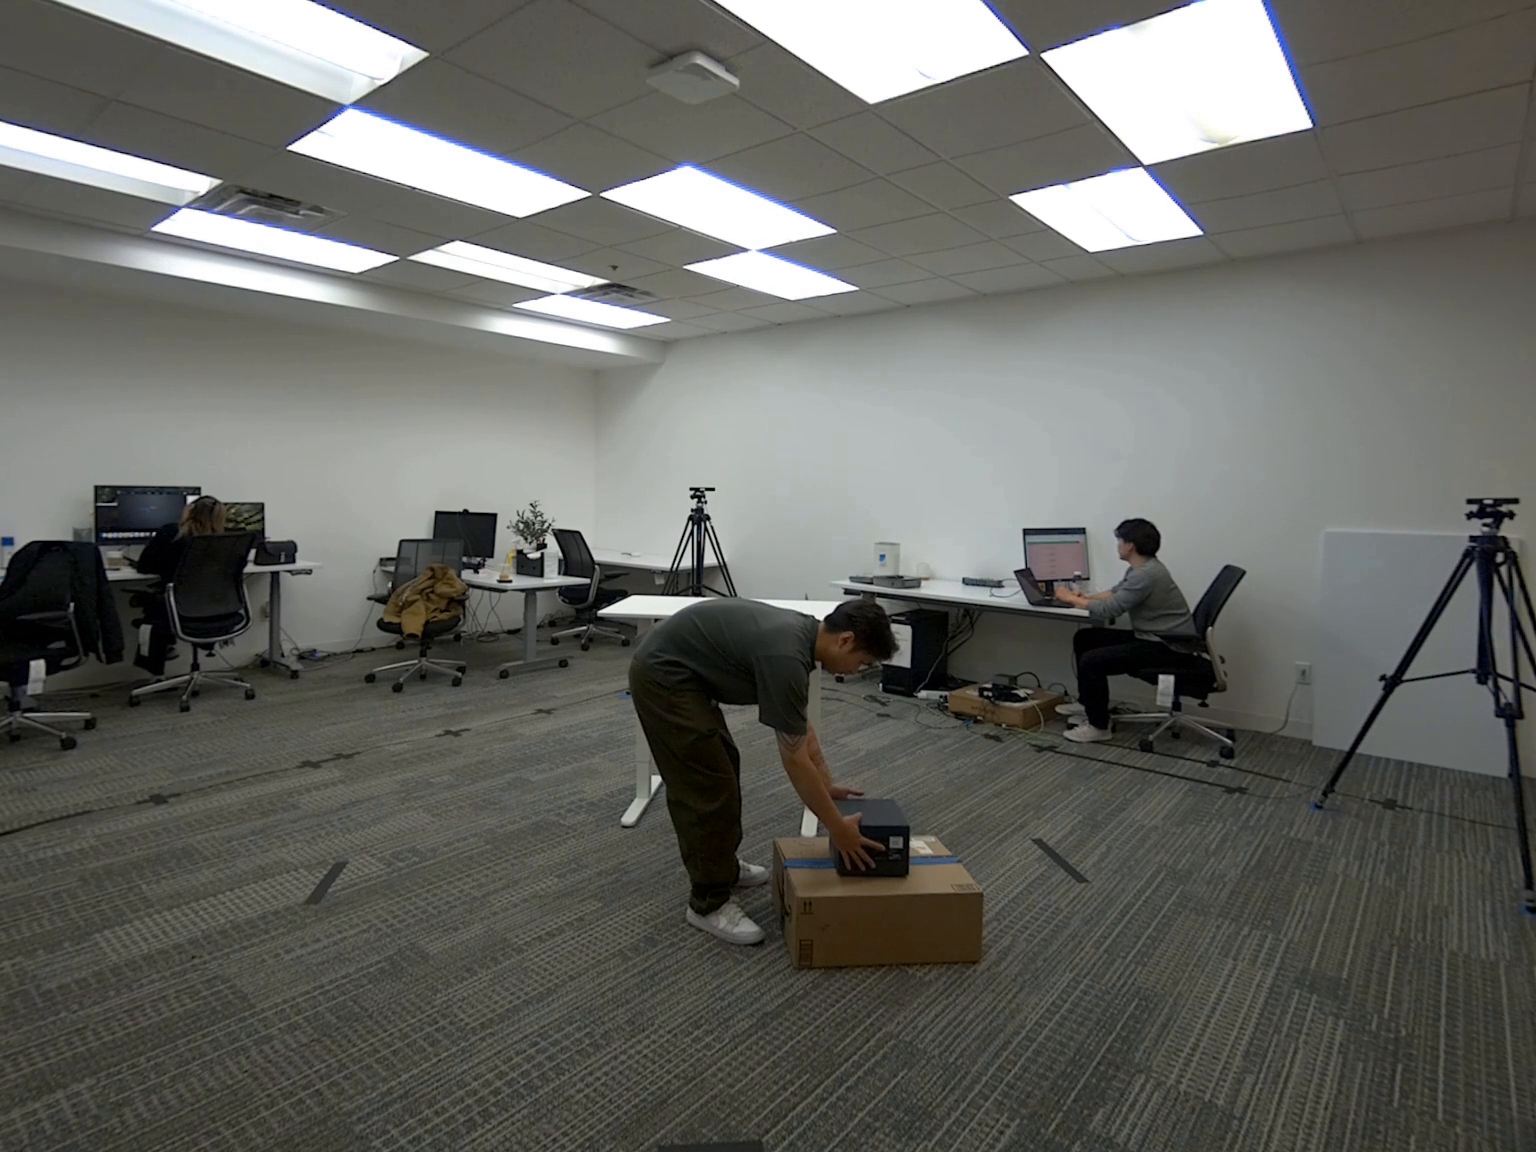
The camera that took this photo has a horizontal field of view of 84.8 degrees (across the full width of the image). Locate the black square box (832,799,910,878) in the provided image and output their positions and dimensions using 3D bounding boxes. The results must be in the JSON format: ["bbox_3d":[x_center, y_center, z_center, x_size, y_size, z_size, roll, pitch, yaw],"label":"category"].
[{"bbox_3d":[0.312,0.816,2.688,0.217,0.155,0.229,2,5,-2],"label":"black square box"}]
